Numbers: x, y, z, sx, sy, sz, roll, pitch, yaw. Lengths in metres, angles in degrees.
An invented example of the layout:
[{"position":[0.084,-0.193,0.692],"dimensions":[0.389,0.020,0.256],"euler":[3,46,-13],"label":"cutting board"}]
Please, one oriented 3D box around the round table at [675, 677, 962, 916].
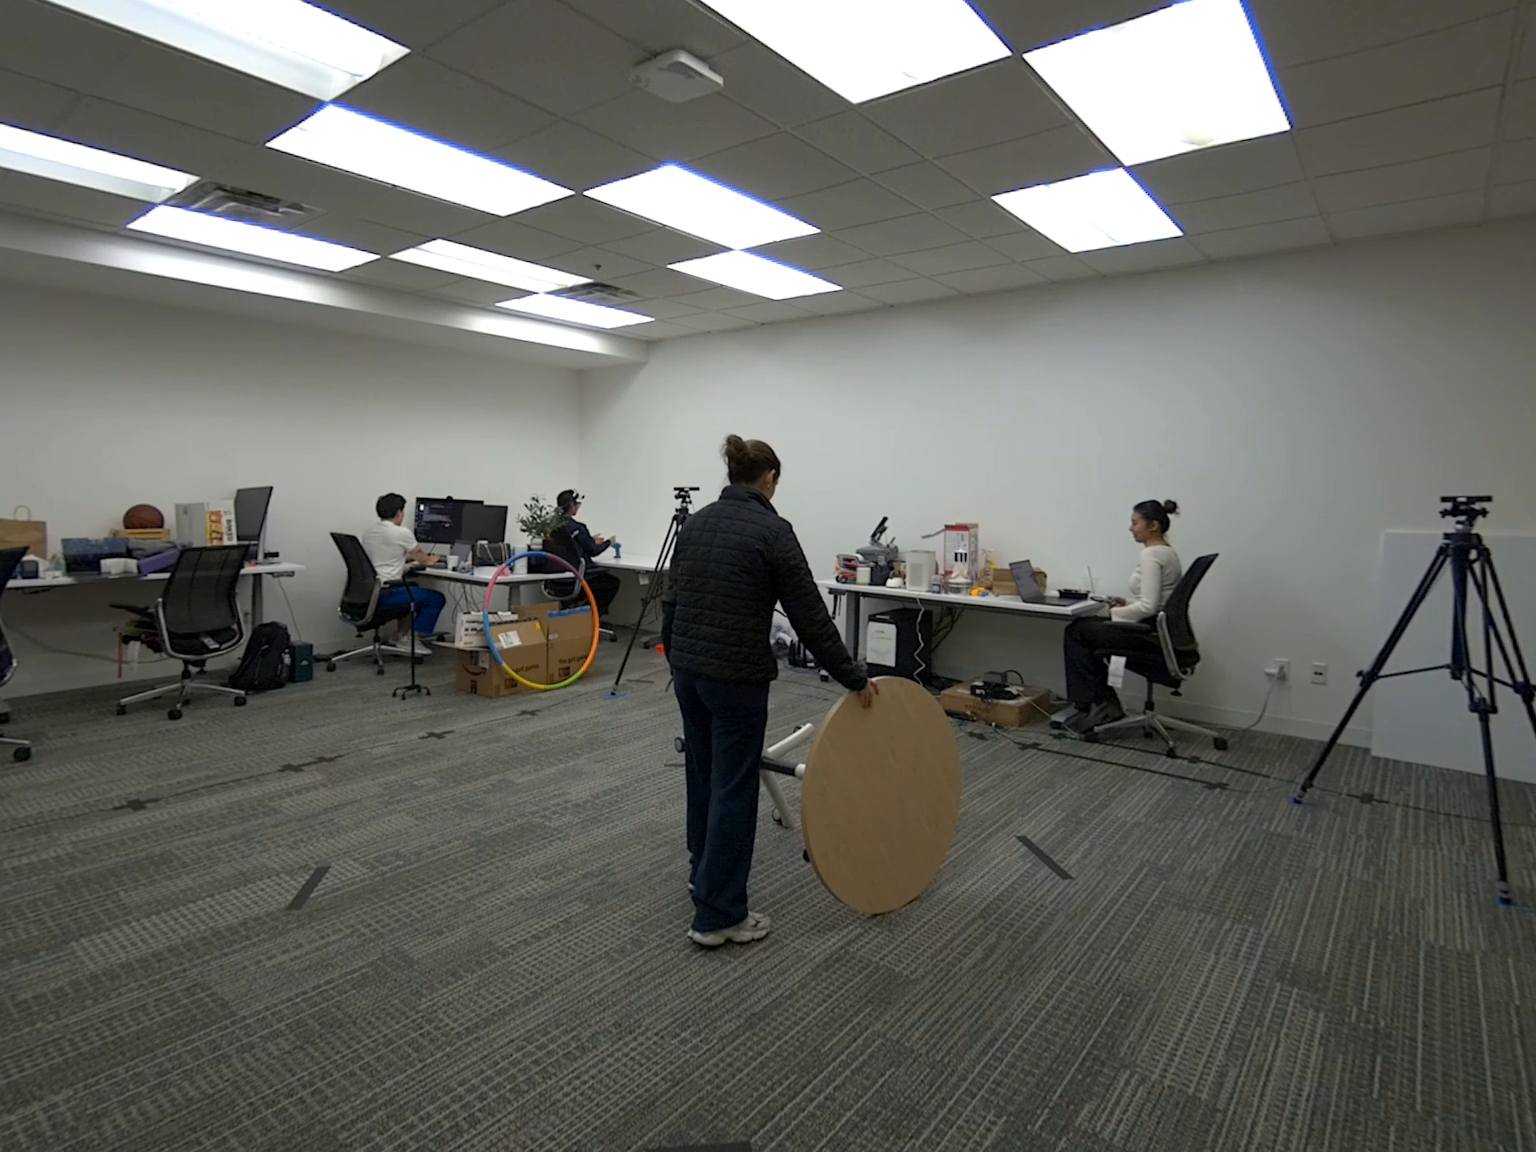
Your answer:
[{"position":[0.163,0.736,3.164],"dimensions":[0.762,0.787,0.808],"euler":[-2,-2,-39],"label":"round table"}]
